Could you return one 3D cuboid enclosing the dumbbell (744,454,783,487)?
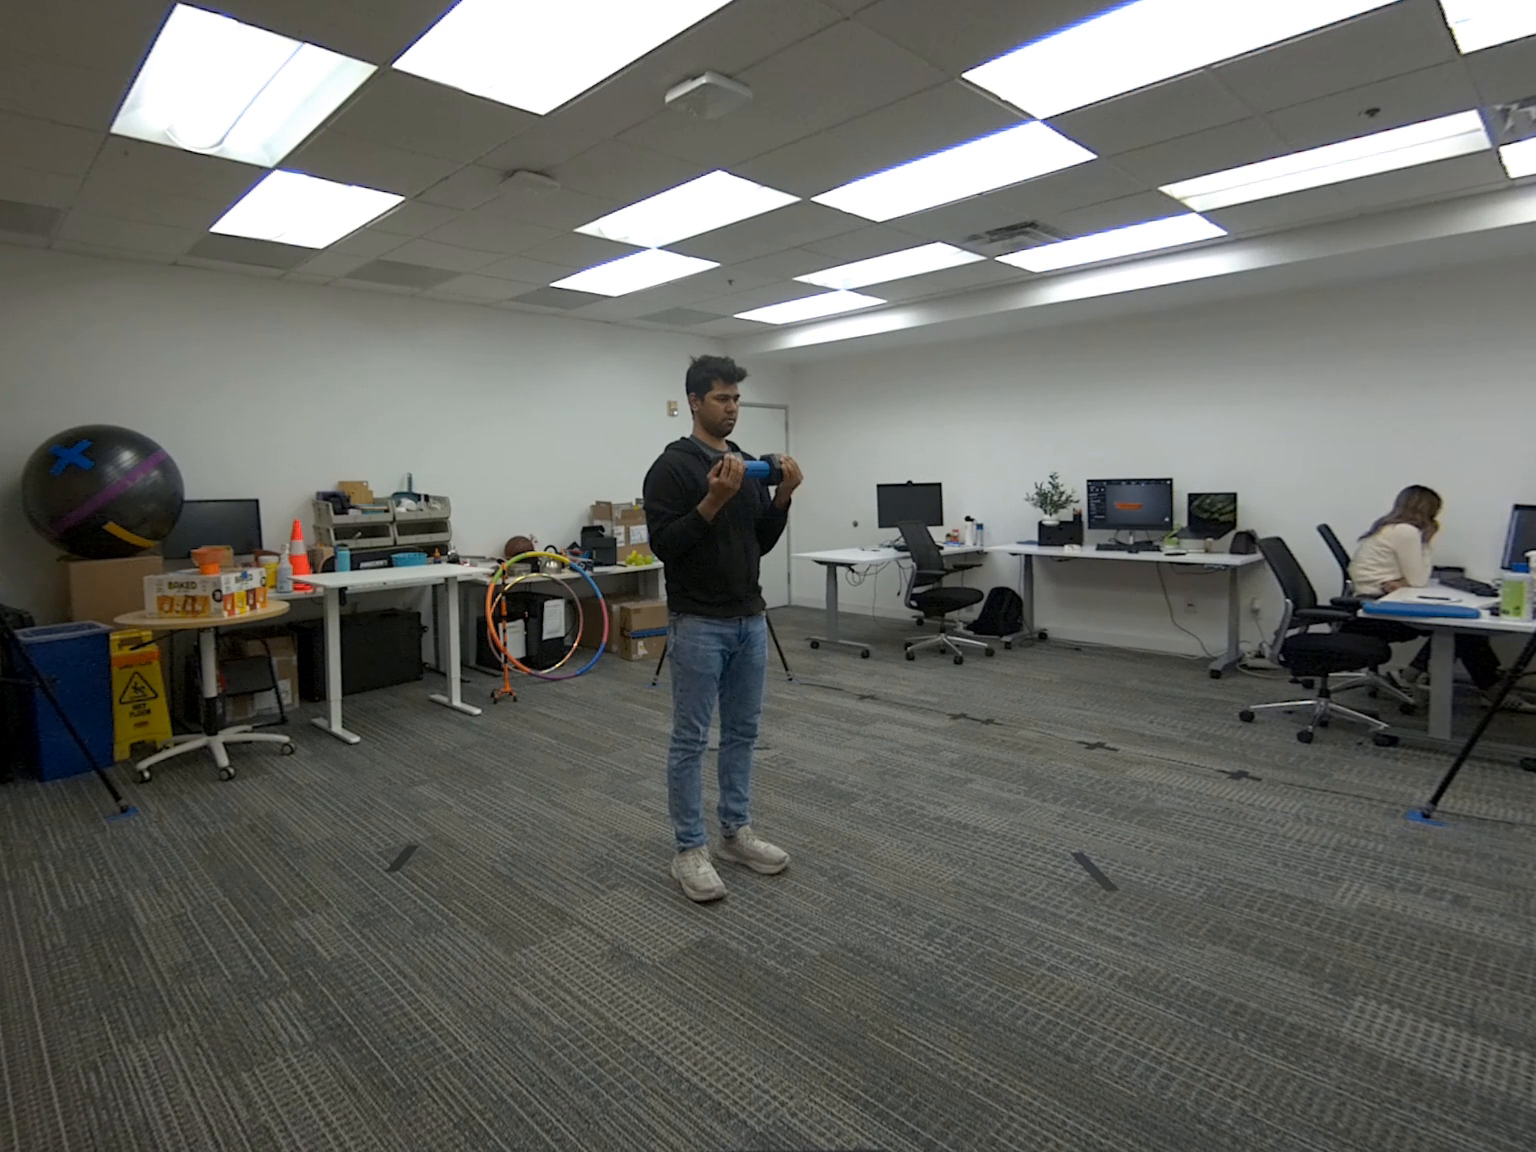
[{"bbox_3d":[-0.070,-0.343,2.866,0.285,0.109,0.126,-3,-2,-41],"label":"dumbbell"}]
